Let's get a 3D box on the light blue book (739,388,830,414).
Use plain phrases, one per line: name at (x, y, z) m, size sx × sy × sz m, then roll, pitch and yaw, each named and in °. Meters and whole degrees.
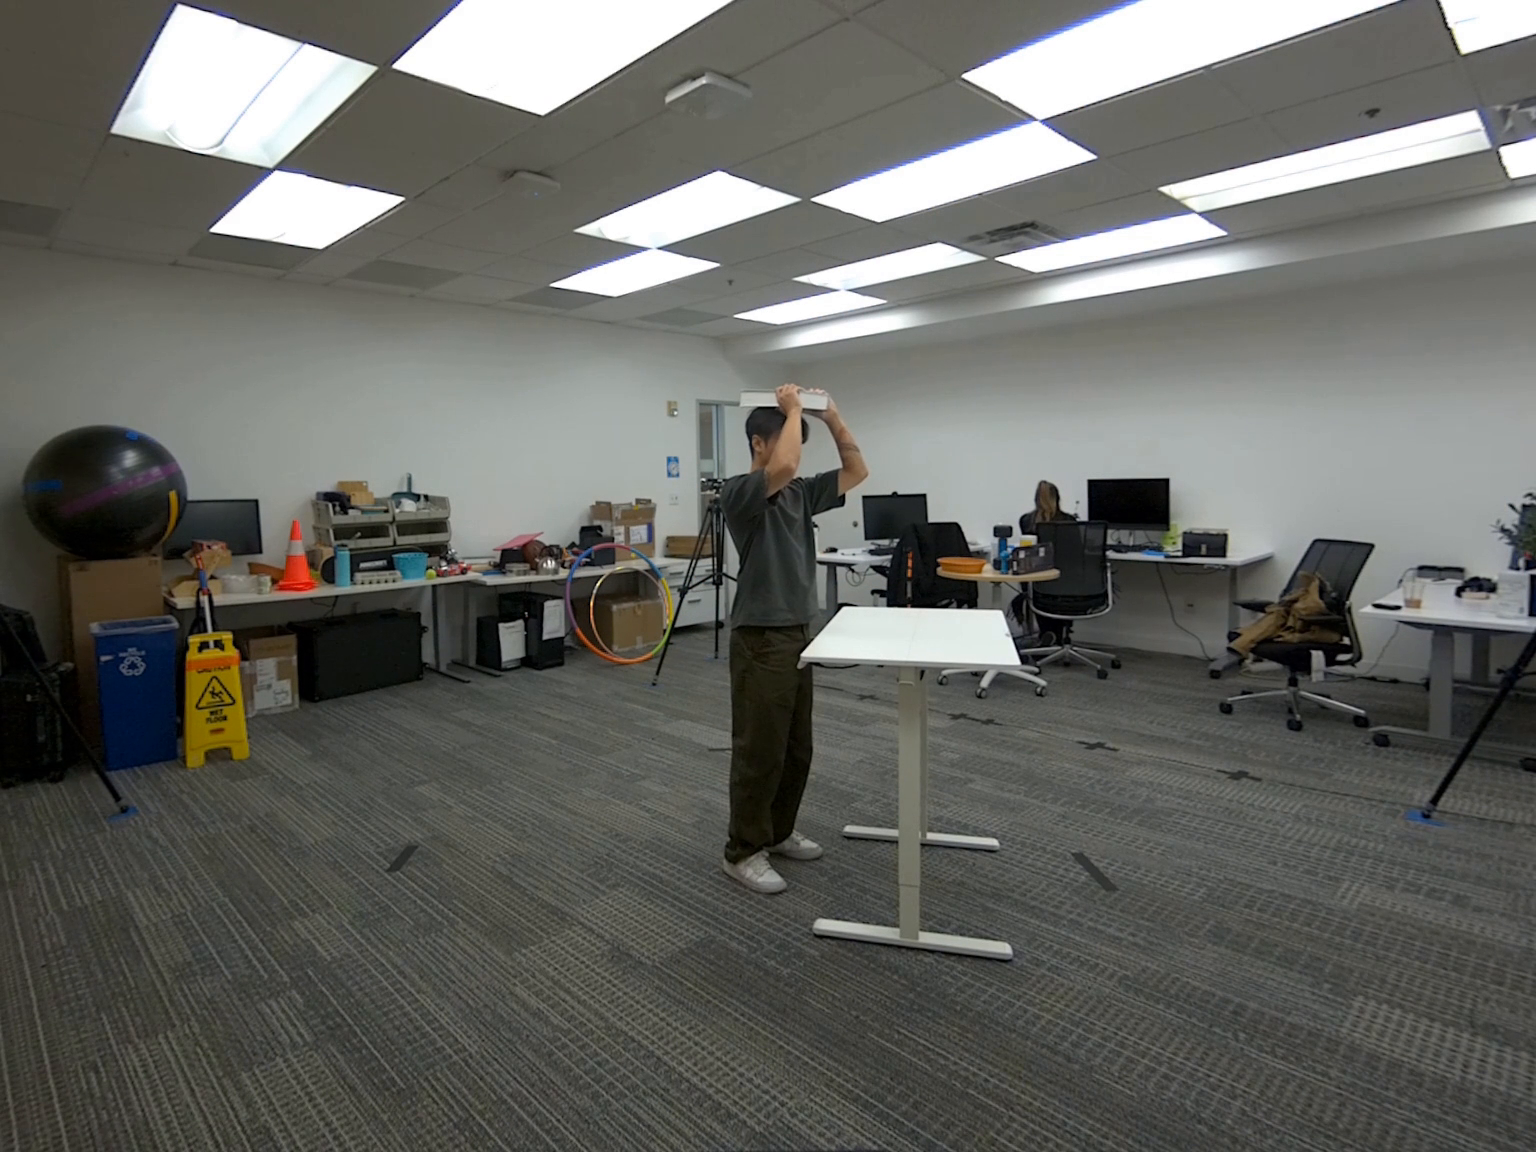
light blue book at (0.057, -0.631, 3.063) m, size 0.269 × 0.058 × 0.187 m, roll 8°, pitch 11°, yaw 35°
